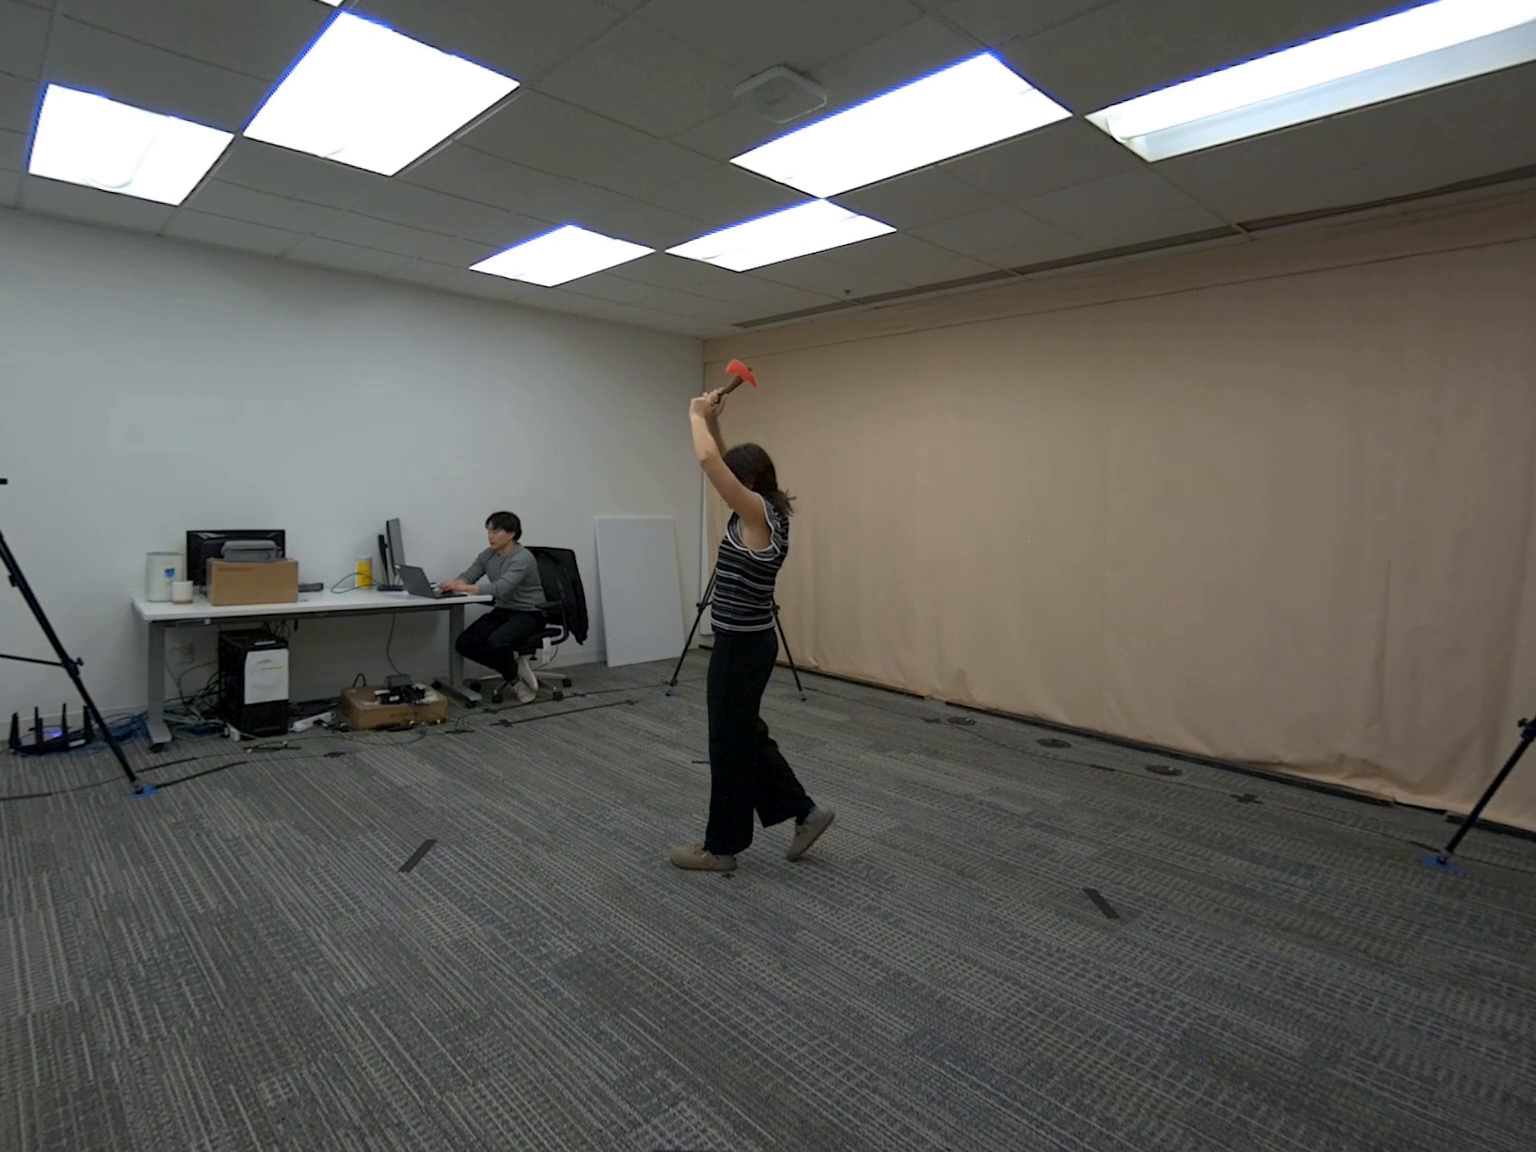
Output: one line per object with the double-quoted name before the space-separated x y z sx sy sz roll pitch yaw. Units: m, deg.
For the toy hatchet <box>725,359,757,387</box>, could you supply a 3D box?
"toy hatchet" -0.183 -0.712 3.124 0.269 0.129 0.030 -25 15 -9
